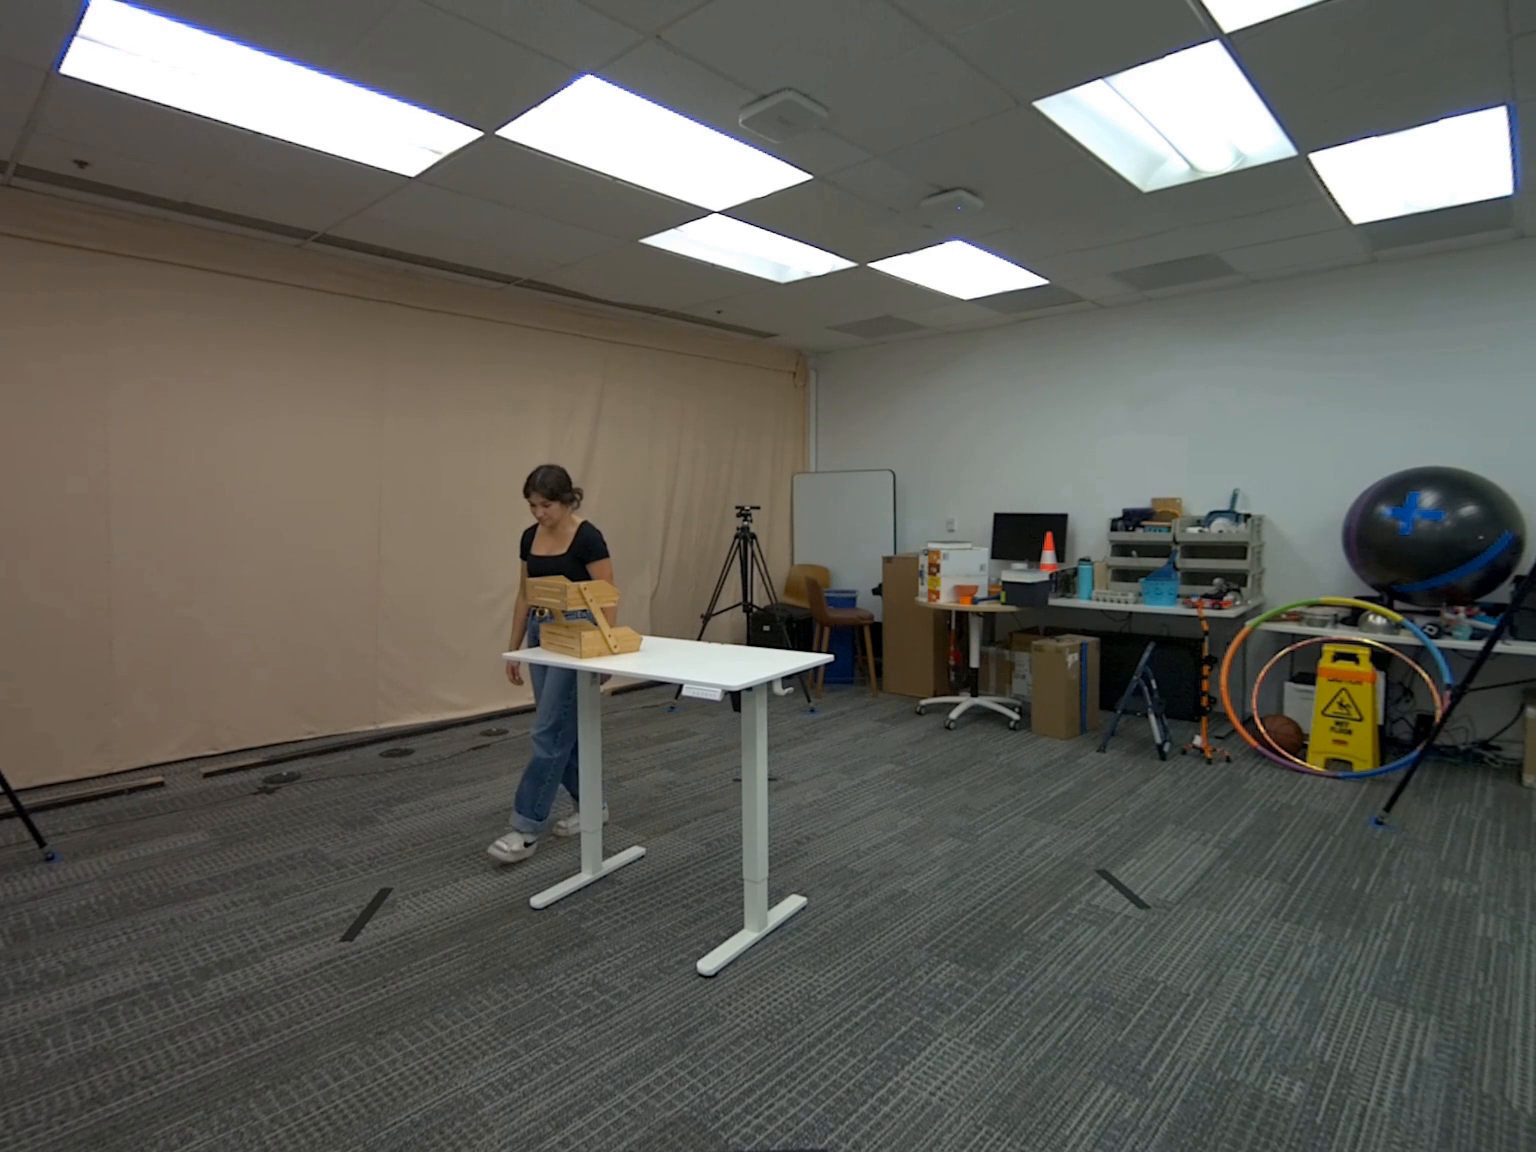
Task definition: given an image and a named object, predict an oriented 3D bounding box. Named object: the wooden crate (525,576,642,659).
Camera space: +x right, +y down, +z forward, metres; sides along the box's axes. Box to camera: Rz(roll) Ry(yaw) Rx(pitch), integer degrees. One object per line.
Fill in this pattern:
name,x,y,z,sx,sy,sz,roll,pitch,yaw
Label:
wooden crate,-0.652,0.135,3.002,0.293,0.273,0.335,-5,5,-41
